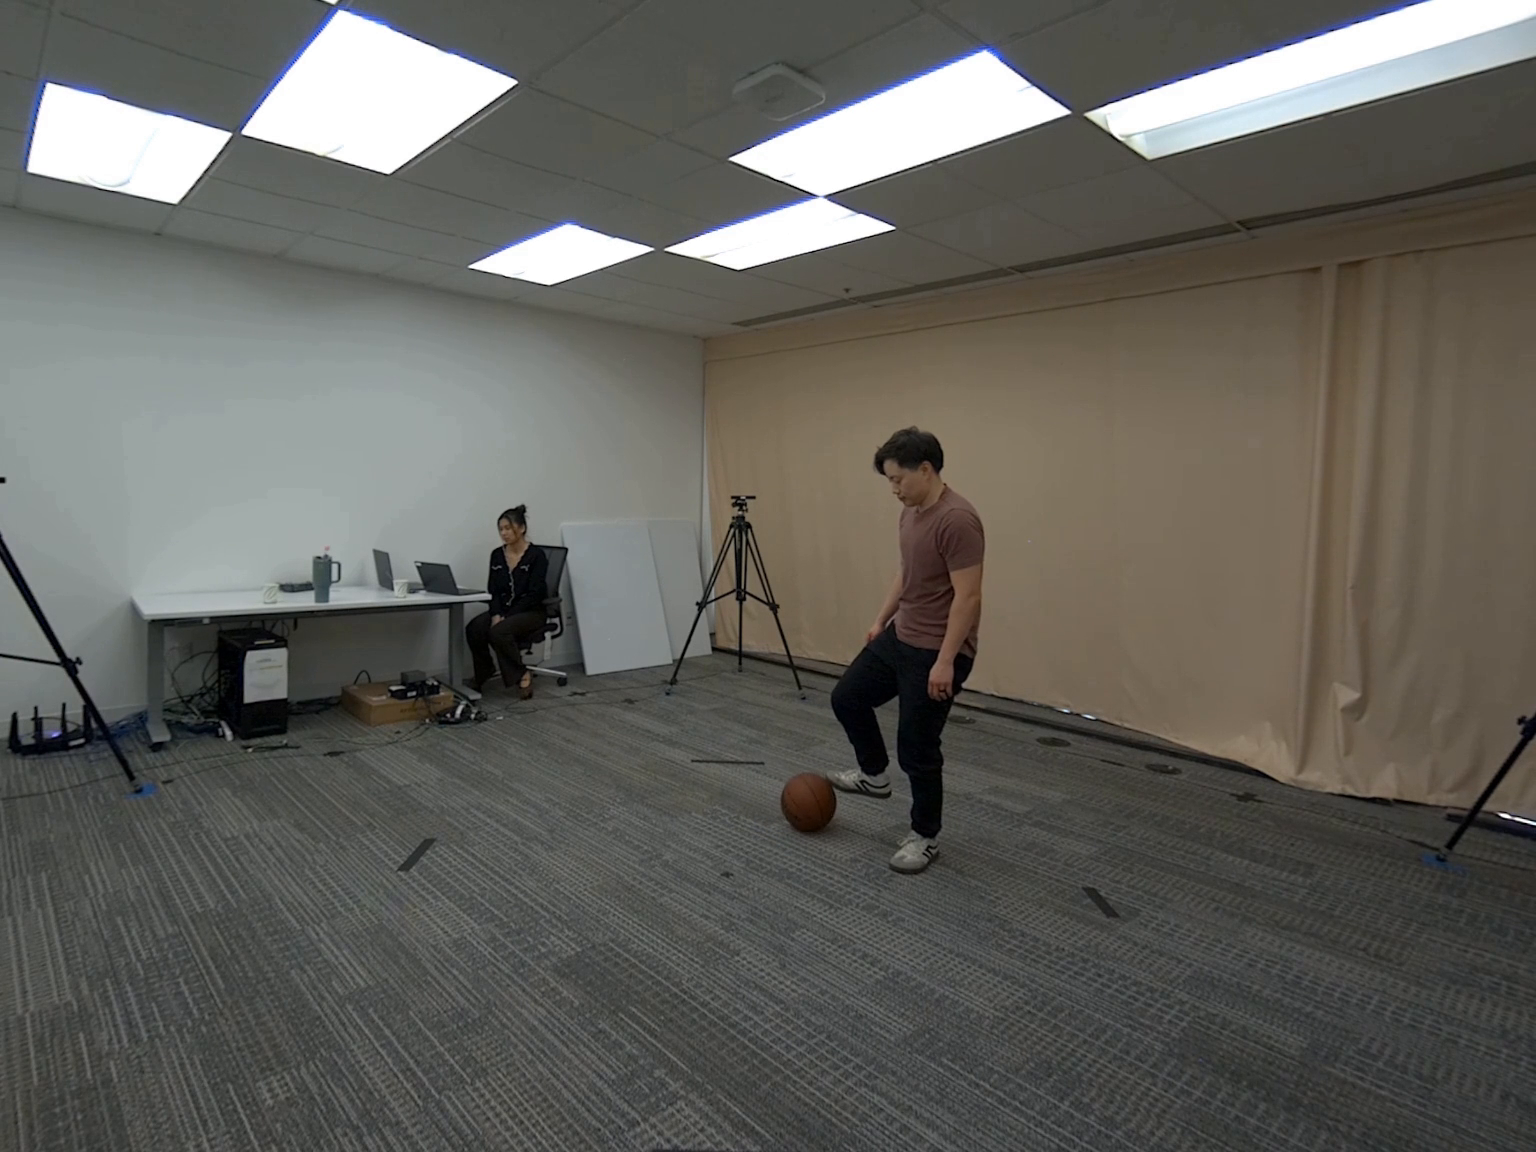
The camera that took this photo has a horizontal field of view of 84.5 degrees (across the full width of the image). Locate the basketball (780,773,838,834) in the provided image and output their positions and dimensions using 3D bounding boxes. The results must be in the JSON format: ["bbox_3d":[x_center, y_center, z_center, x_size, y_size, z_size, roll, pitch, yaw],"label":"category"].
[{"bbox_3d":[0.157,0.951,3.549,0.236,0.235,0.237,1,4,-1],"label":"basketball"}]
